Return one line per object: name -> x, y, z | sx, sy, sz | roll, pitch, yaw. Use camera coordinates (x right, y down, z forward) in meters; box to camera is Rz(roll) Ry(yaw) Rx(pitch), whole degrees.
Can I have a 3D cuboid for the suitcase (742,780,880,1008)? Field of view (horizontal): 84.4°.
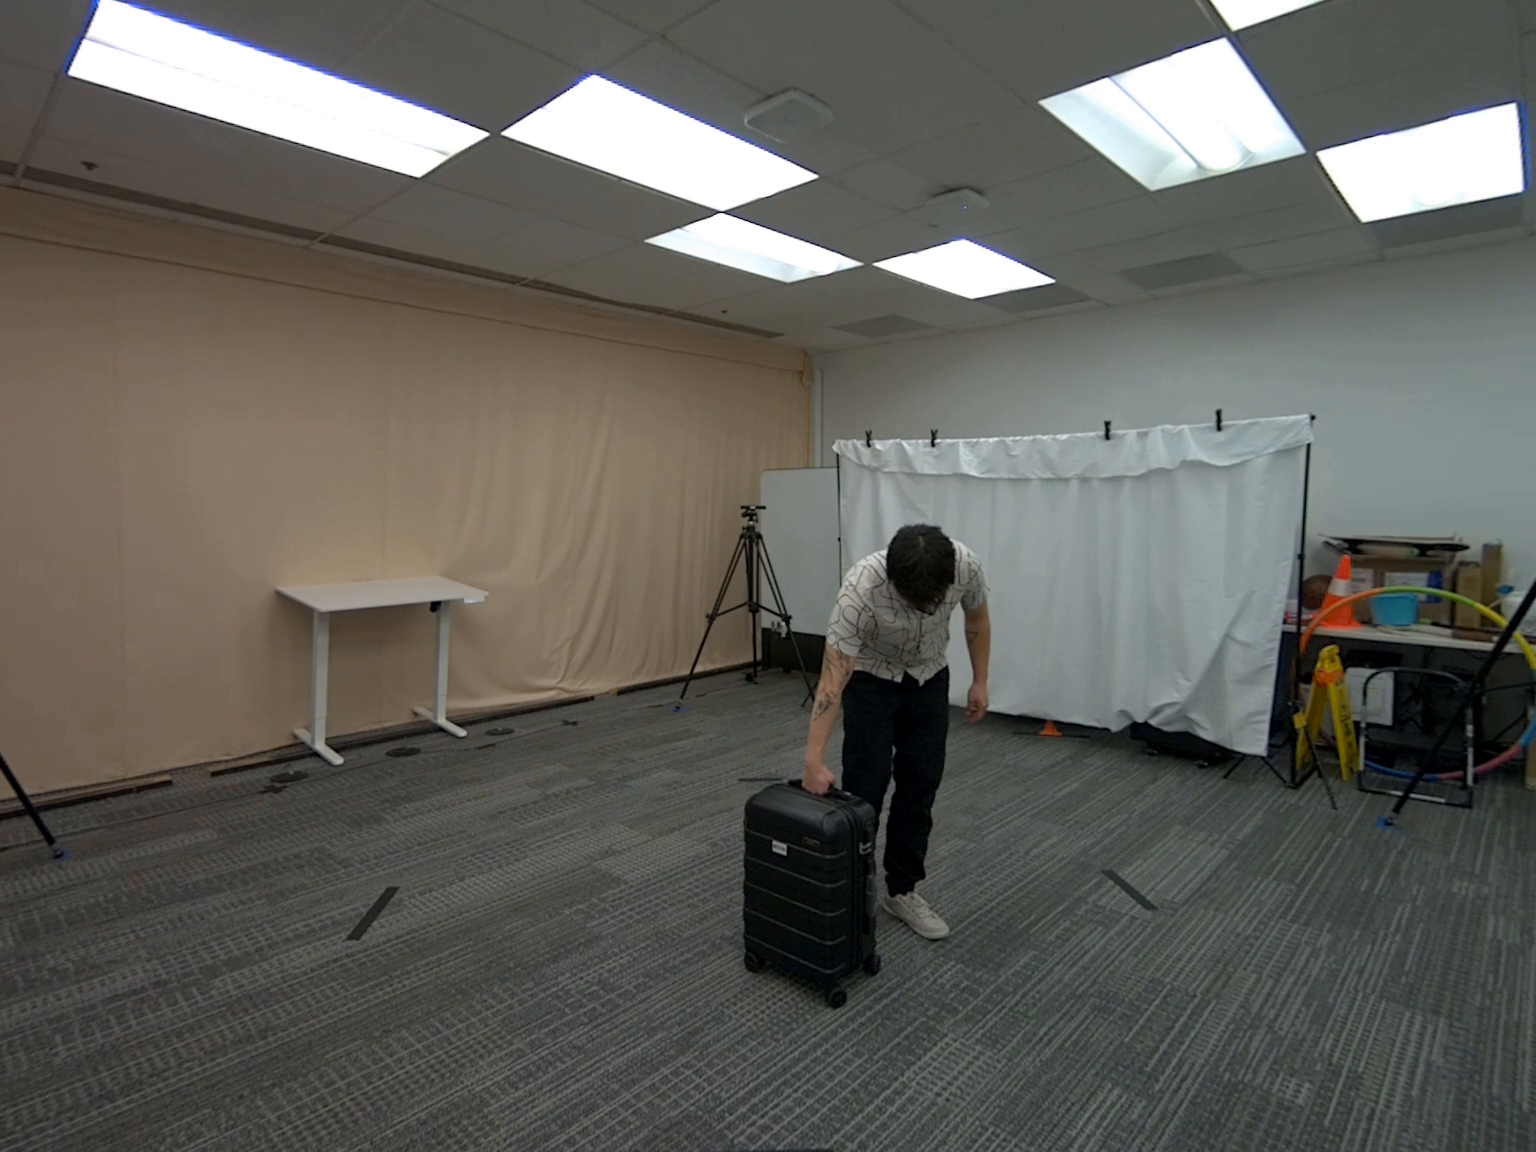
suitcase -> 0.129, 0.907, 2.501 | 0.388, 0.548, 0.241 | 2, 4, 41
